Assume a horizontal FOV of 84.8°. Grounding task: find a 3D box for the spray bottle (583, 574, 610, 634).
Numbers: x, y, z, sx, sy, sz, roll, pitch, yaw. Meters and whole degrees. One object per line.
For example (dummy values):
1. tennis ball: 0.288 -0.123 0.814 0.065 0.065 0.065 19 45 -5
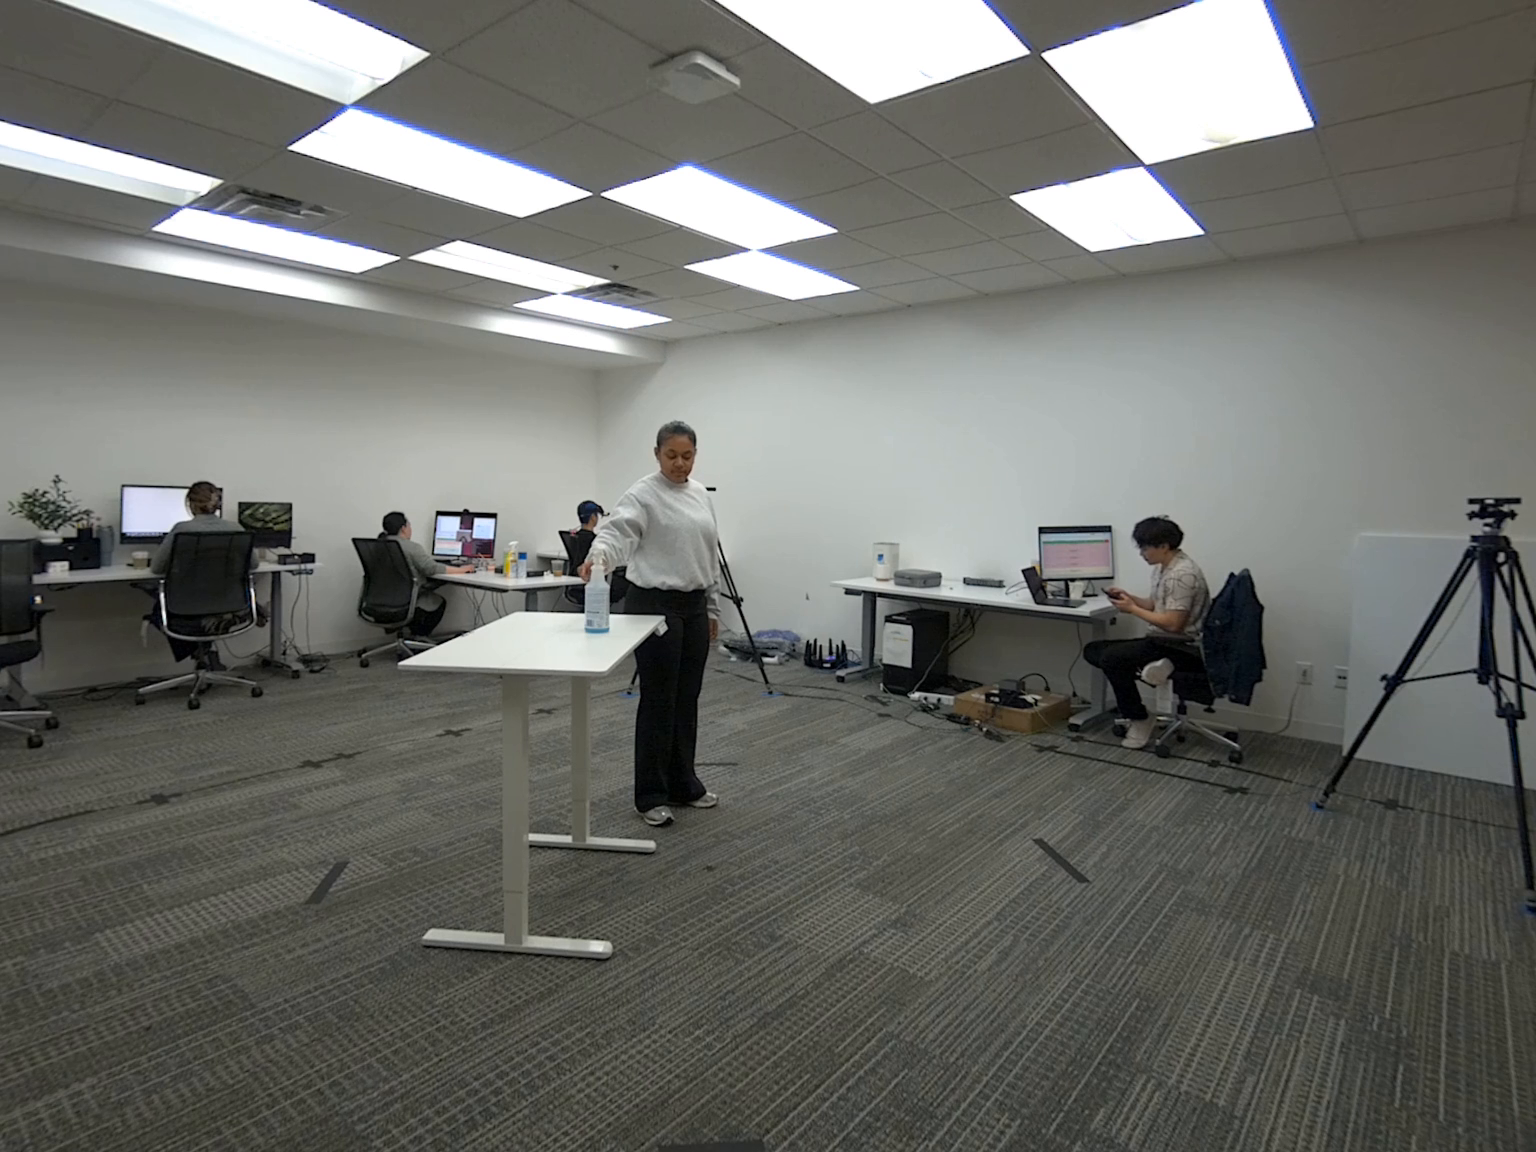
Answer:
1. spray bottle: -0.614 0.045 2.957 0.088 0.296 0.090 2 4 6
